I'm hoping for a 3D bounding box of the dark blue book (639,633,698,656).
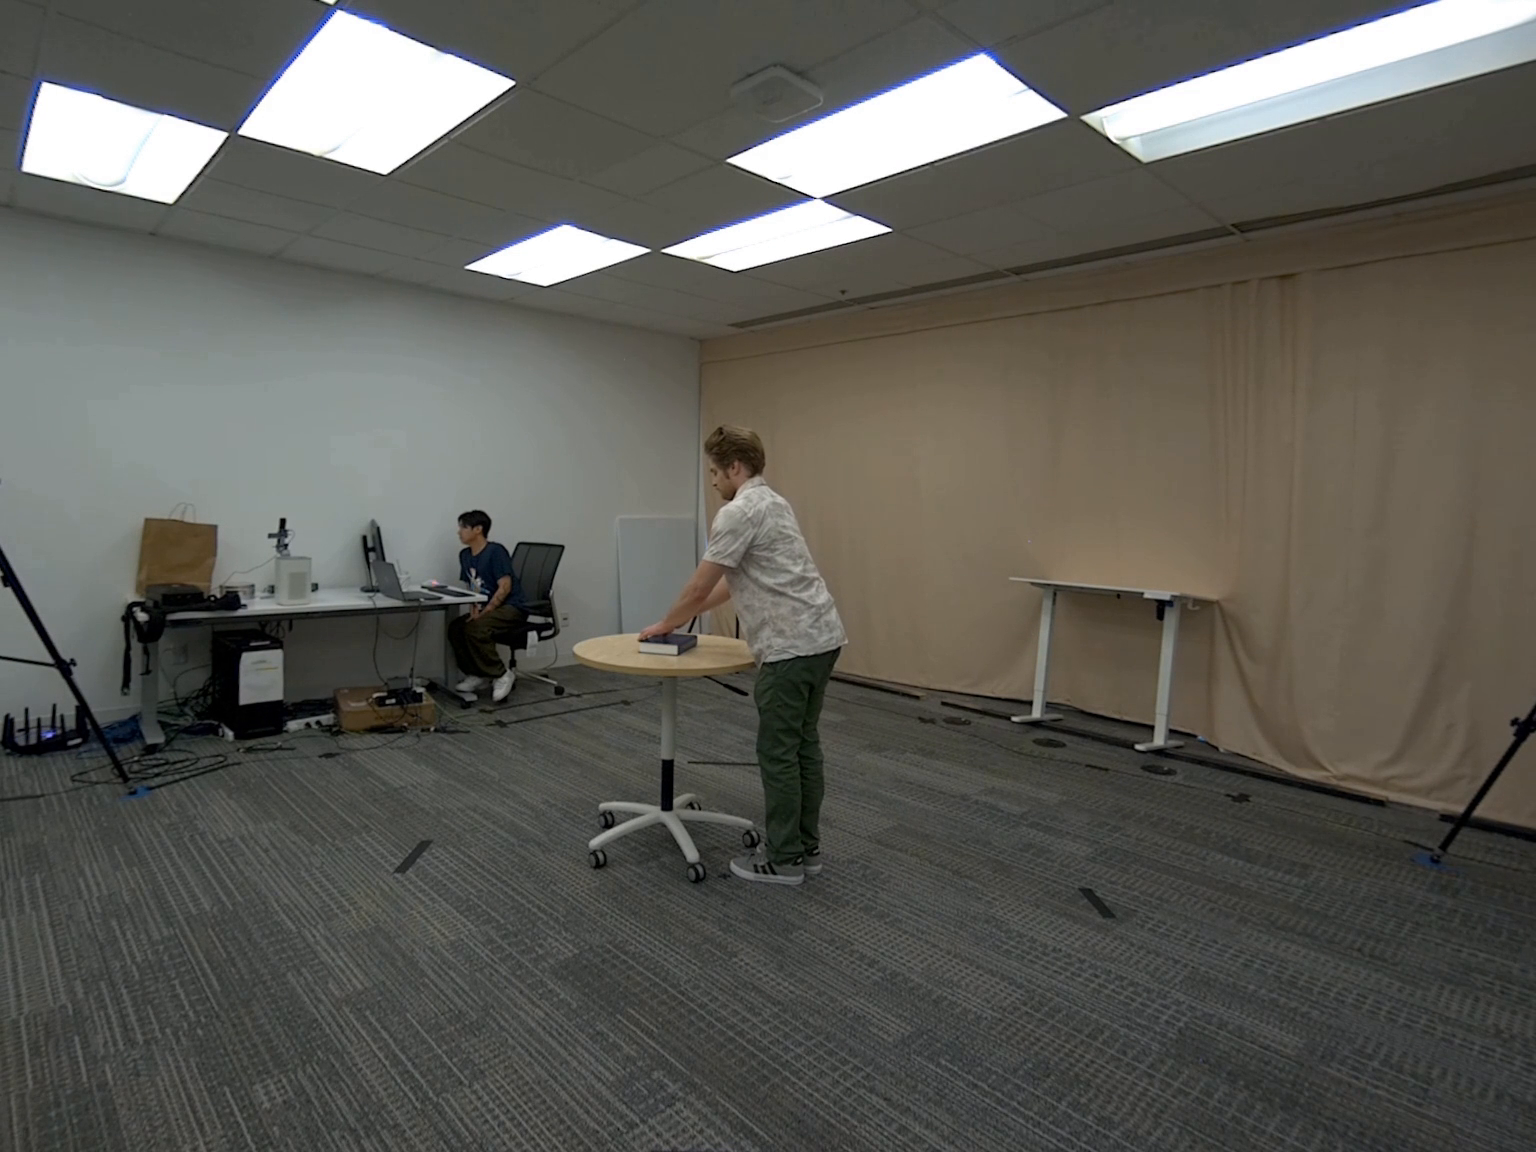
[{"bbox_3d":[-0.403,0.267,3.339,0.165,0.045,0.243,3,5,13],"label":"dark blue book"}]
